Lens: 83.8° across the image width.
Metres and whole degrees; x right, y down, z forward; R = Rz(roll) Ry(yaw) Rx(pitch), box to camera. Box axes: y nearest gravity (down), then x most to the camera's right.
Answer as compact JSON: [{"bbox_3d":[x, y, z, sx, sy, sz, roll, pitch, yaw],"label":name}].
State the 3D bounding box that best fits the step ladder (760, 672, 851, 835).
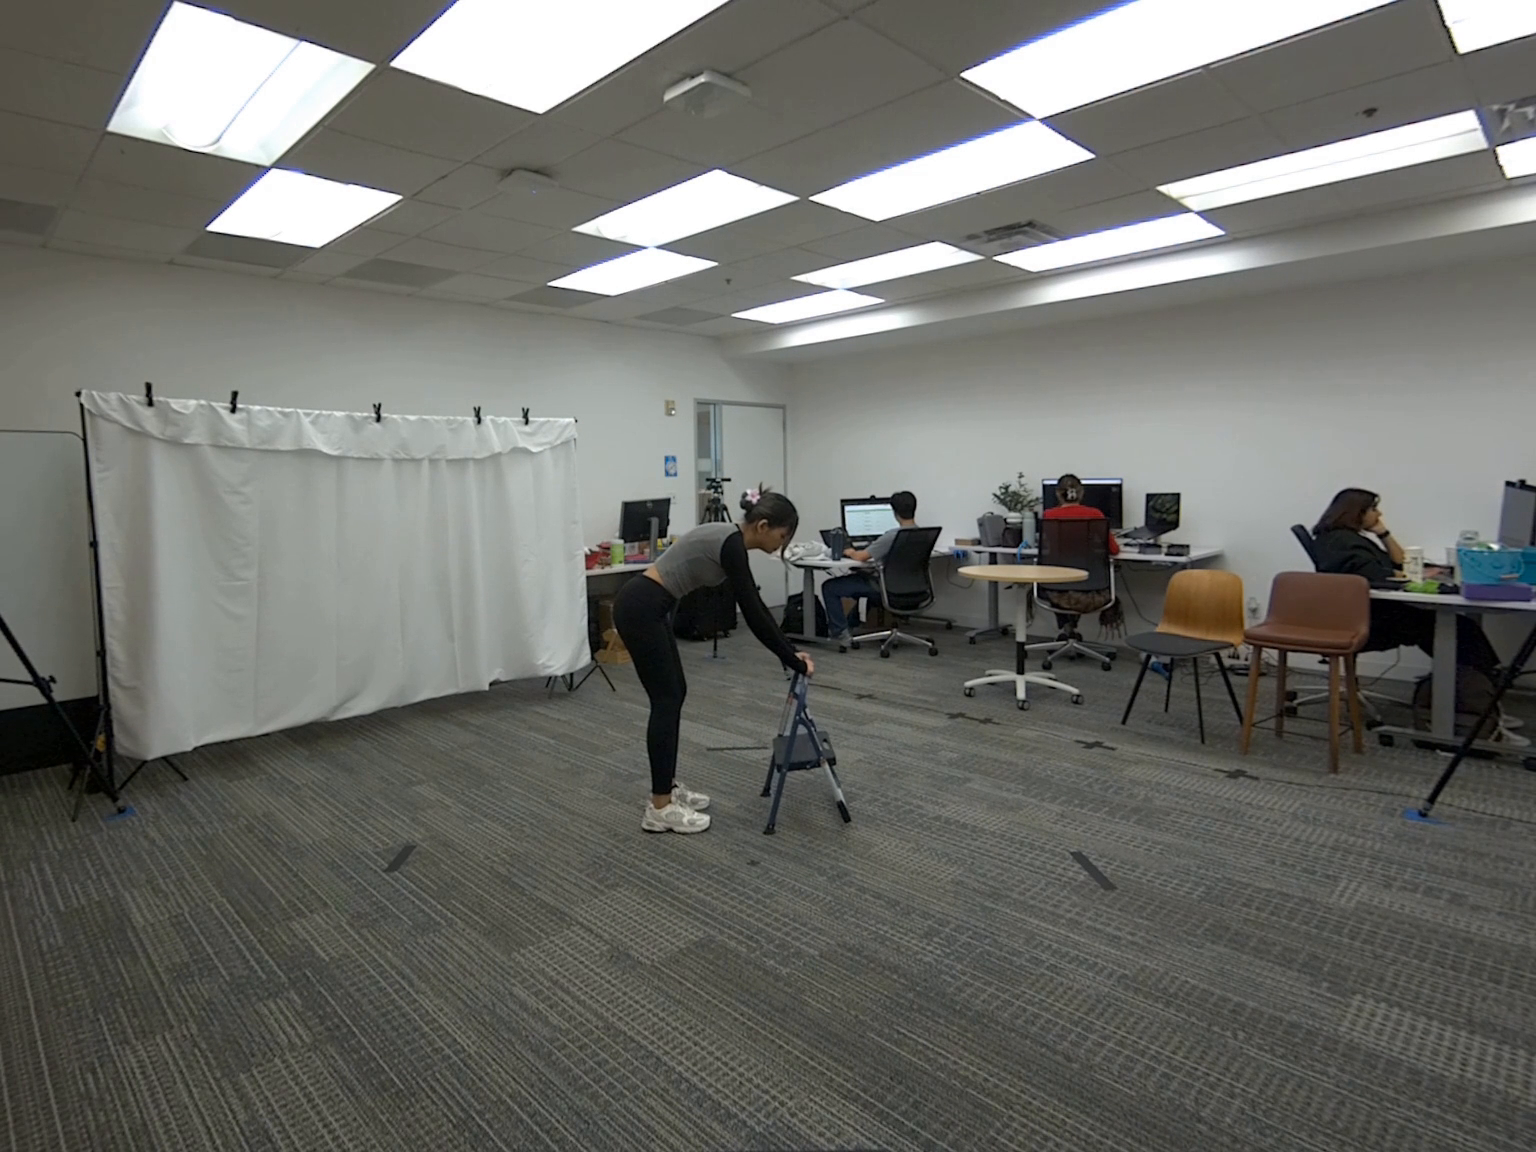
[{"bbox_3d":[0.113,0.671,3.541,0.349,0.604,0.433,-7,4,-2],"label":"step ladder"}]
